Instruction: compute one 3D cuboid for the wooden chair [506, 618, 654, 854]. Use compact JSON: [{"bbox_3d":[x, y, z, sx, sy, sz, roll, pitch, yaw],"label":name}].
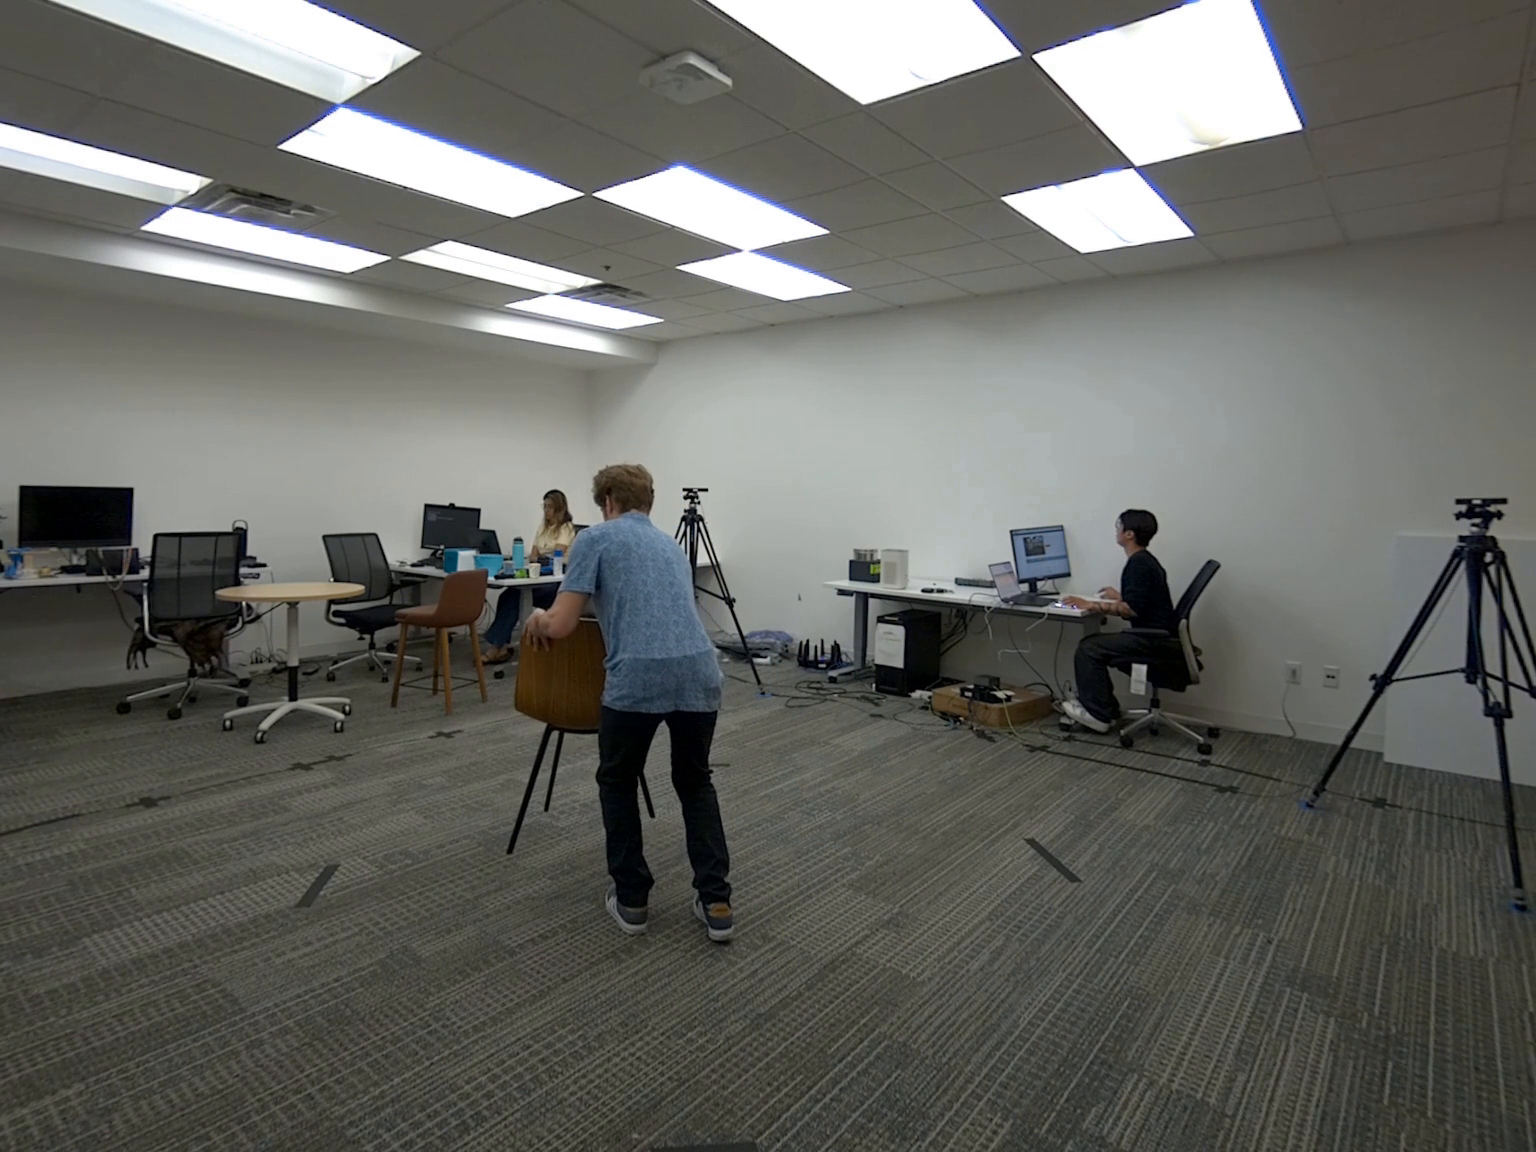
[{"bbox_3d":[-0.690,0.539,3.179,0.481,0.873,0.523,1,5,4],"label":"wooden chair"}]
